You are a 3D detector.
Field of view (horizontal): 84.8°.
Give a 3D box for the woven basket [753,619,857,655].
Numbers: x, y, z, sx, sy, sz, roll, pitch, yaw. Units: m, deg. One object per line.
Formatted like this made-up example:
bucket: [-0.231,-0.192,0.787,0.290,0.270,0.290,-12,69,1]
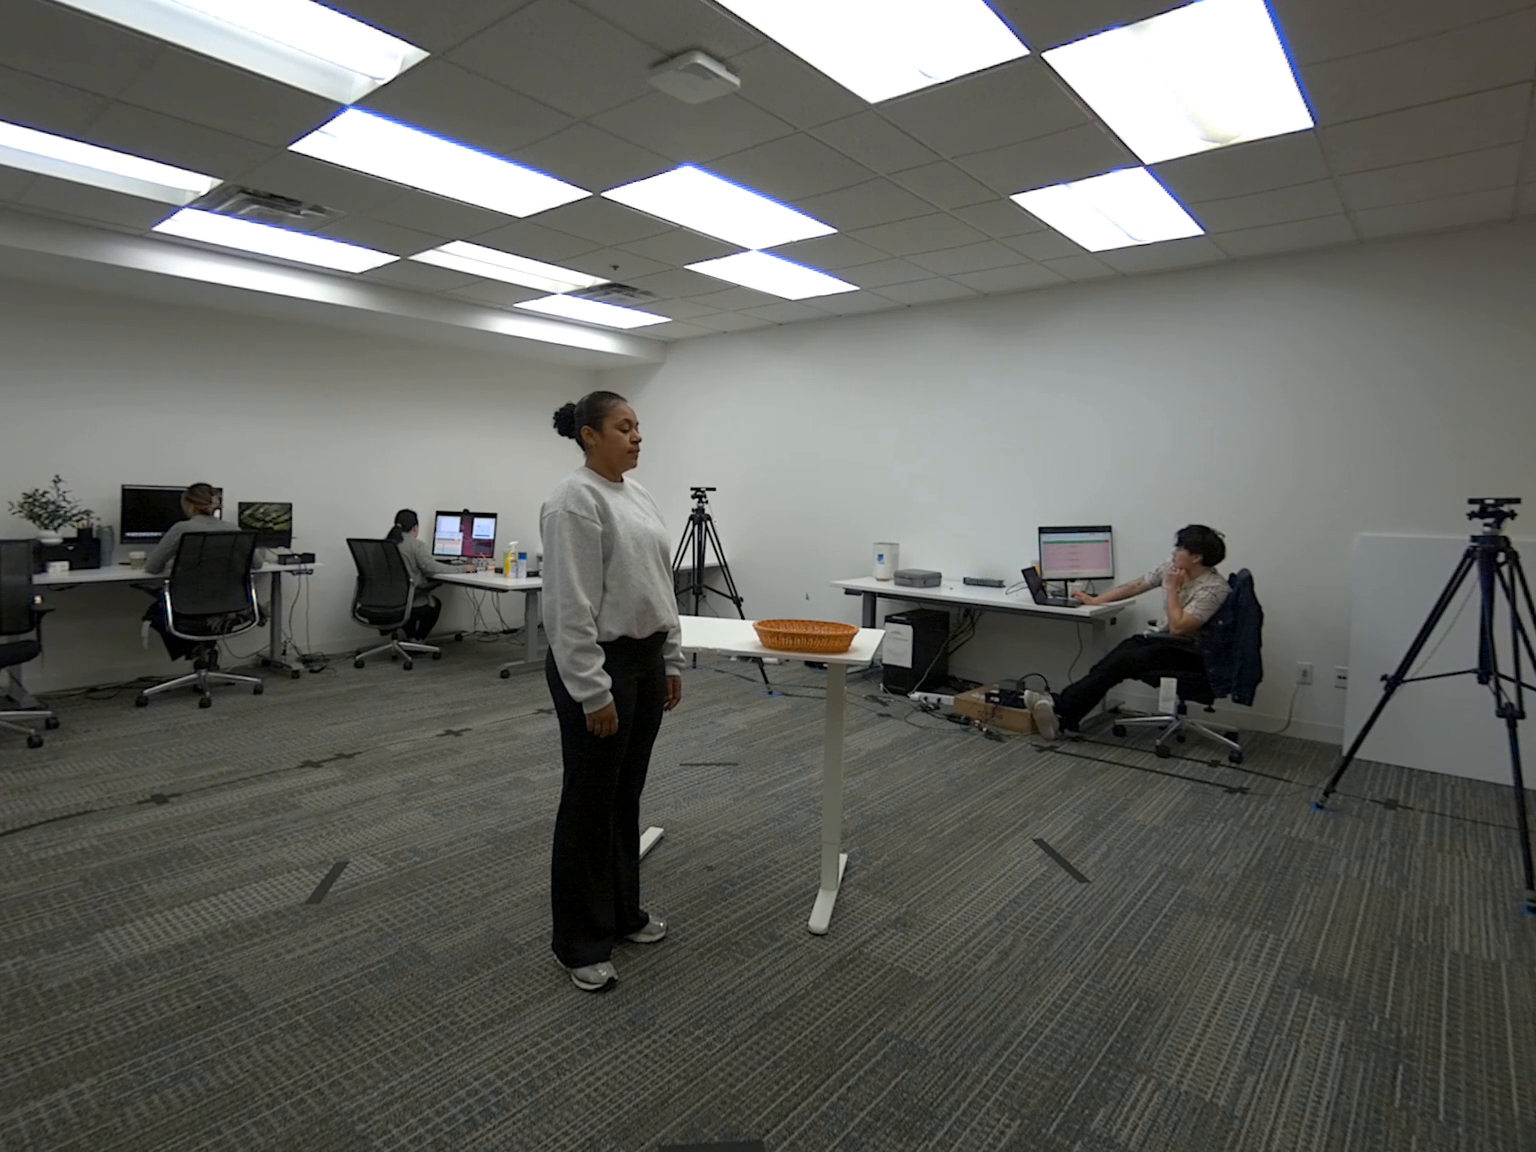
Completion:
woven basket: [0.116,0.197,2.752,0.355,0.073,0.250,2,5,10]
